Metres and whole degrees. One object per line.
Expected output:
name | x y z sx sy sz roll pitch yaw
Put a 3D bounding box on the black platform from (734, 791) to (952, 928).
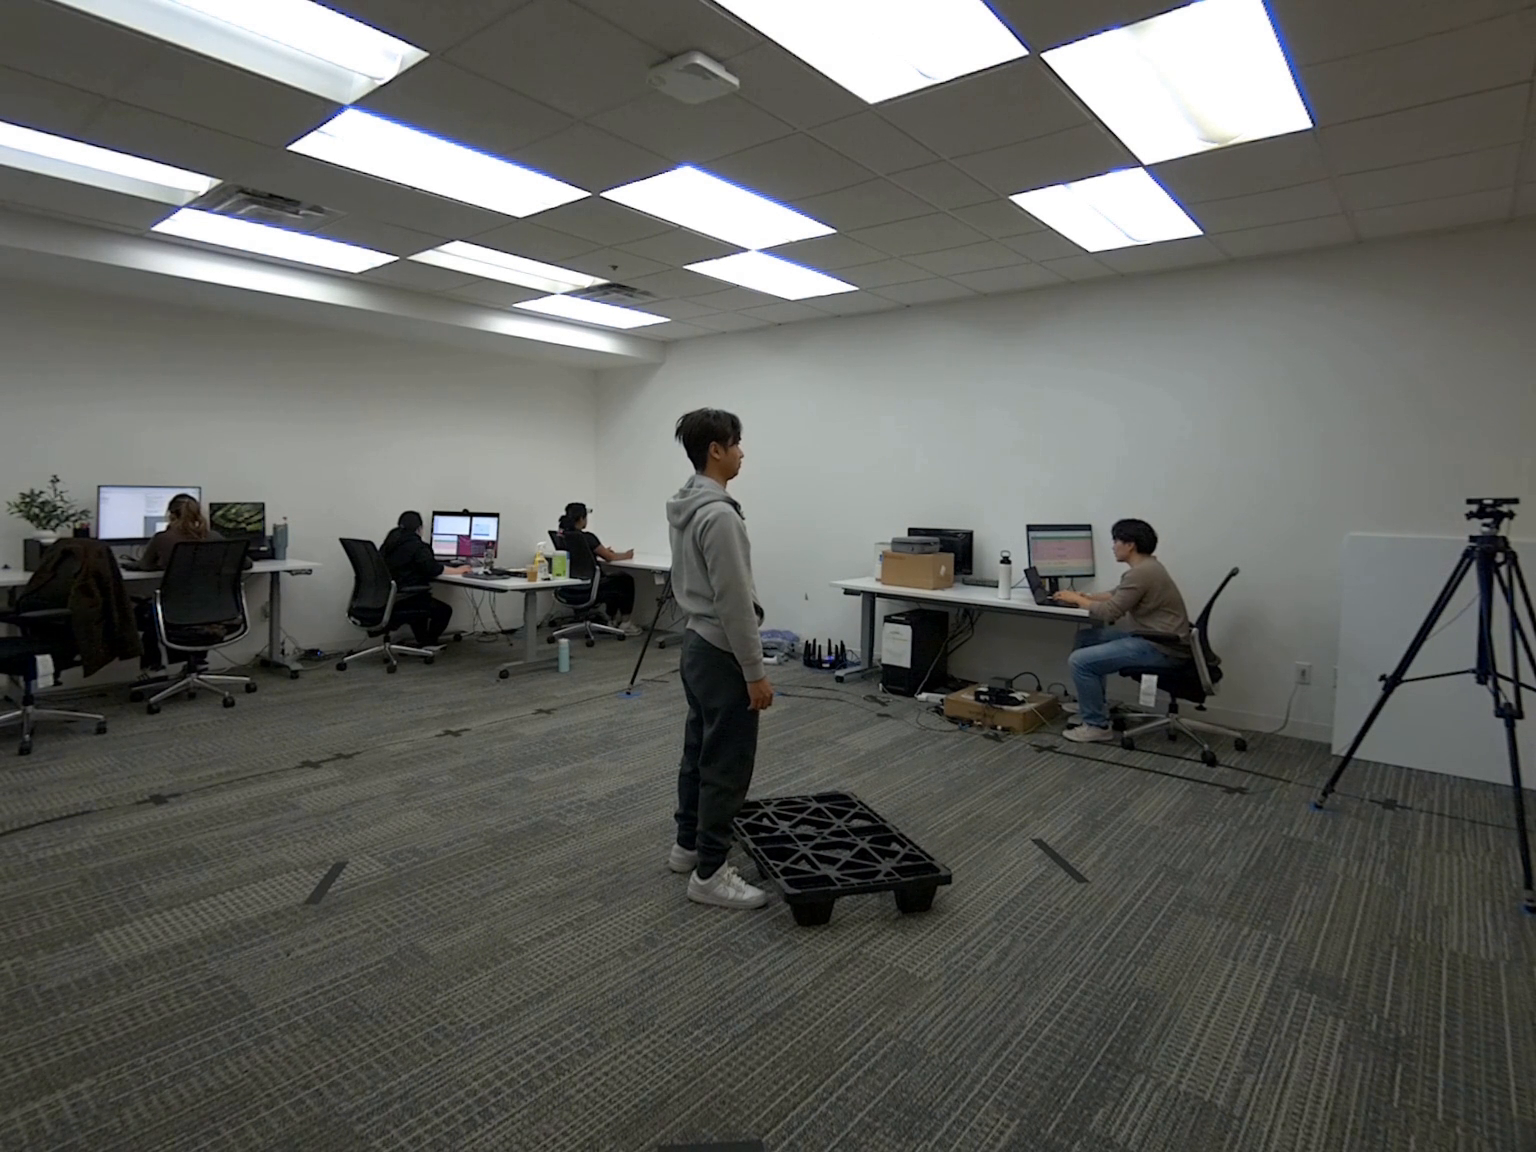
black platform | 0.194 1.007 3.115 0.594 0.143 0.824 0 6 -19
